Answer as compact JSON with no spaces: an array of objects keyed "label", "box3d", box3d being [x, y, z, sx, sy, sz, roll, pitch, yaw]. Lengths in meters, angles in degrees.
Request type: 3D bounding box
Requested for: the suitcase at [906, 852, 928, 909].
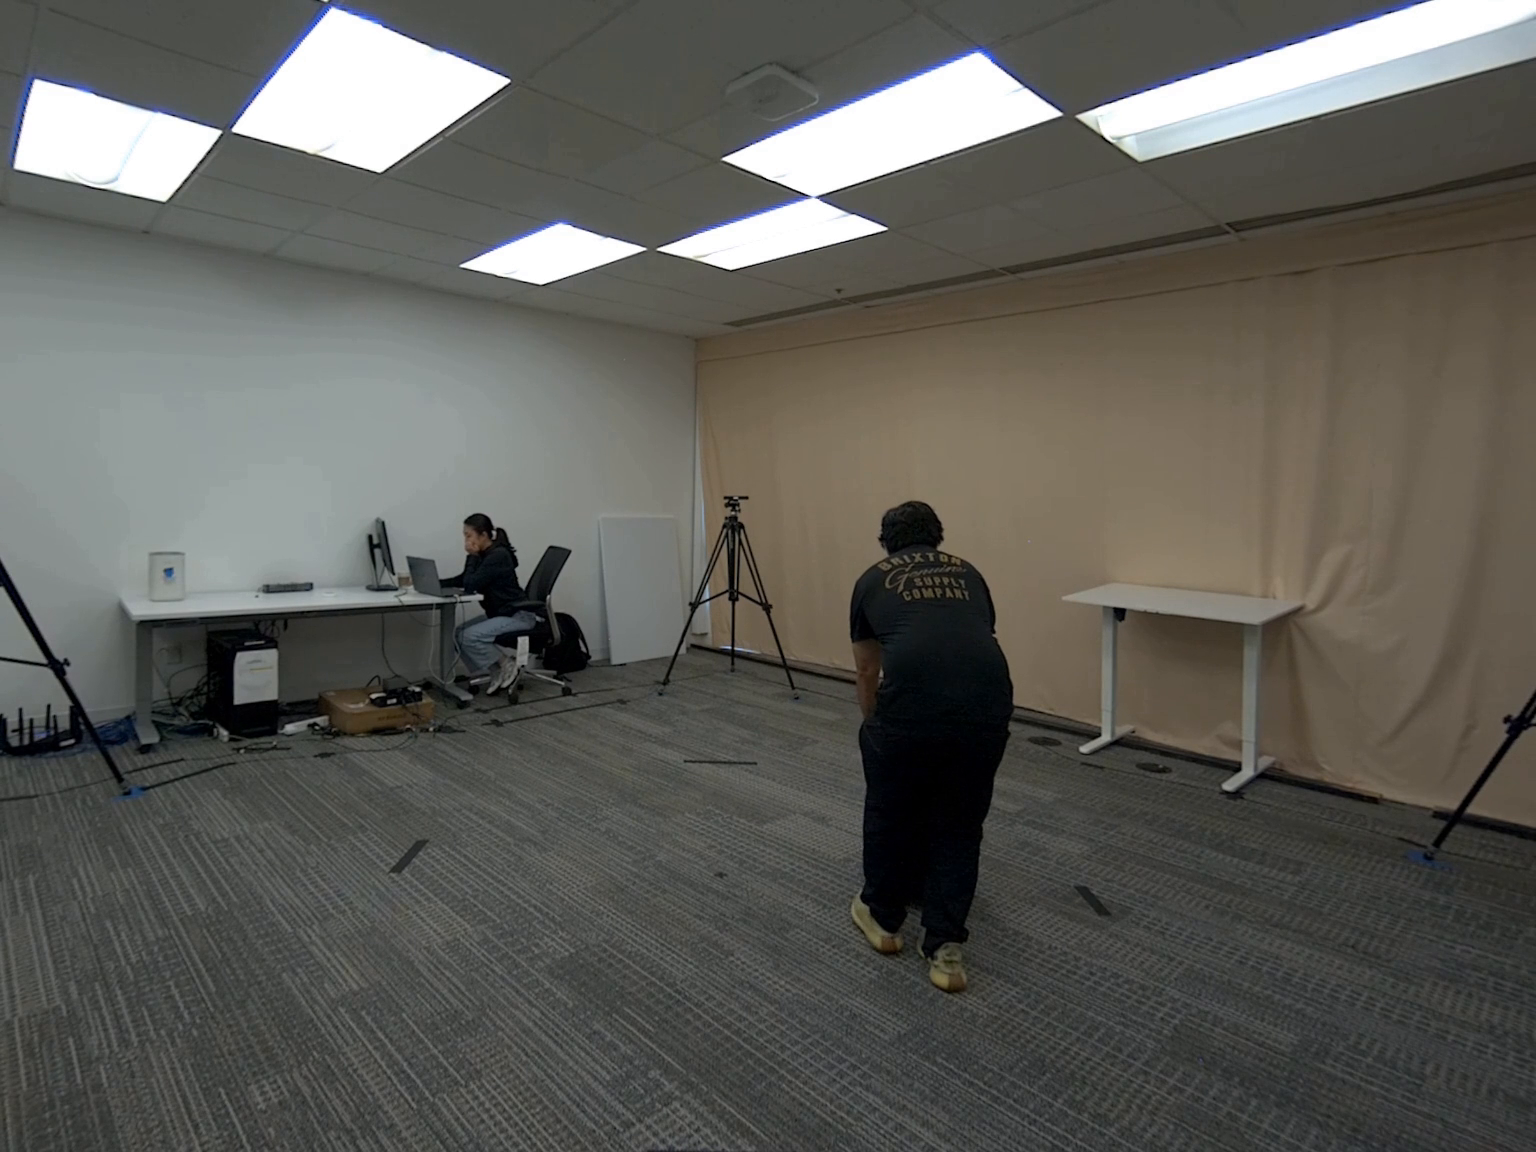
[{"label":"suitcase","box3d":[0.537,0.863,2.956,0.377,0.547,0.248,2,5,6]}]
